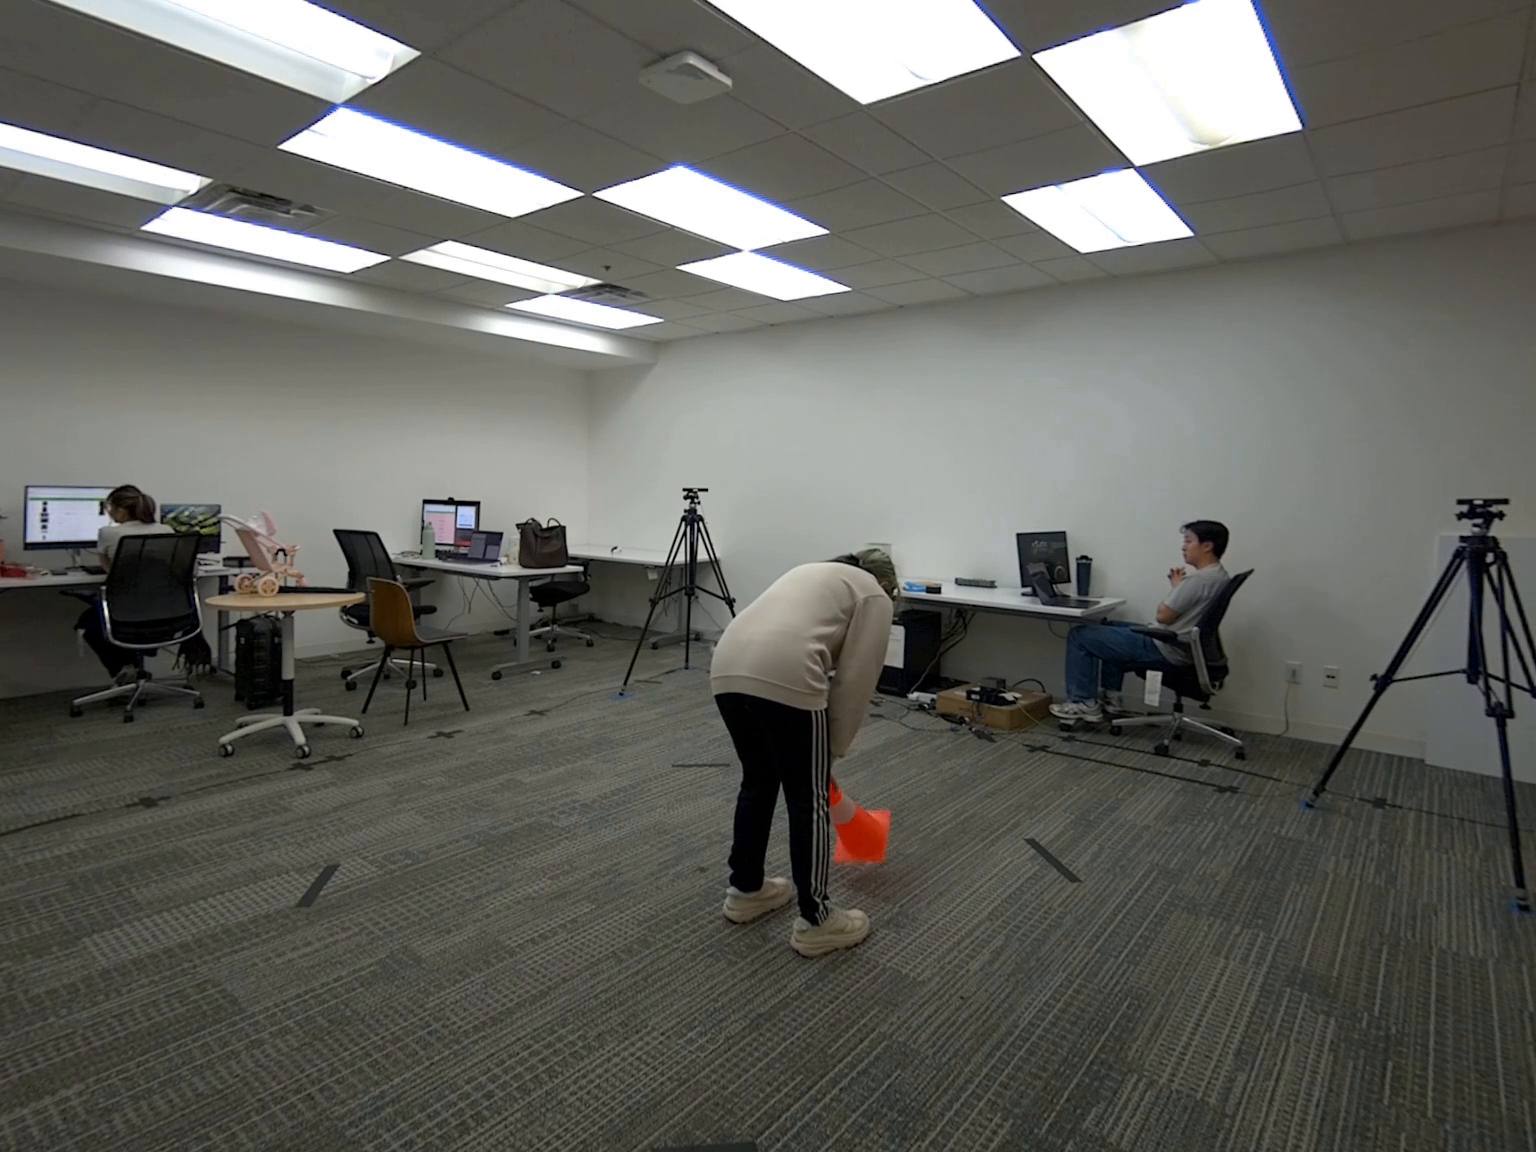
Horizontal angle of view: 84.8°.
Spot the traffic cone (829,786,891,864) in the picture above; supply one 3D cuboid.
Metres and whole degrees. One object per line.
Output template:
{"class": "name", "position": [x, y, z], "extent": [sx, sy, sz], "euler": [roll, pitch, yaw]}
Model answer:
{"class": "traffic cone", "position": [0.249, 0.817, 3.002], "extent": [0.209, 0.370, 0.207], "euler": [-15, 36, 27]}
